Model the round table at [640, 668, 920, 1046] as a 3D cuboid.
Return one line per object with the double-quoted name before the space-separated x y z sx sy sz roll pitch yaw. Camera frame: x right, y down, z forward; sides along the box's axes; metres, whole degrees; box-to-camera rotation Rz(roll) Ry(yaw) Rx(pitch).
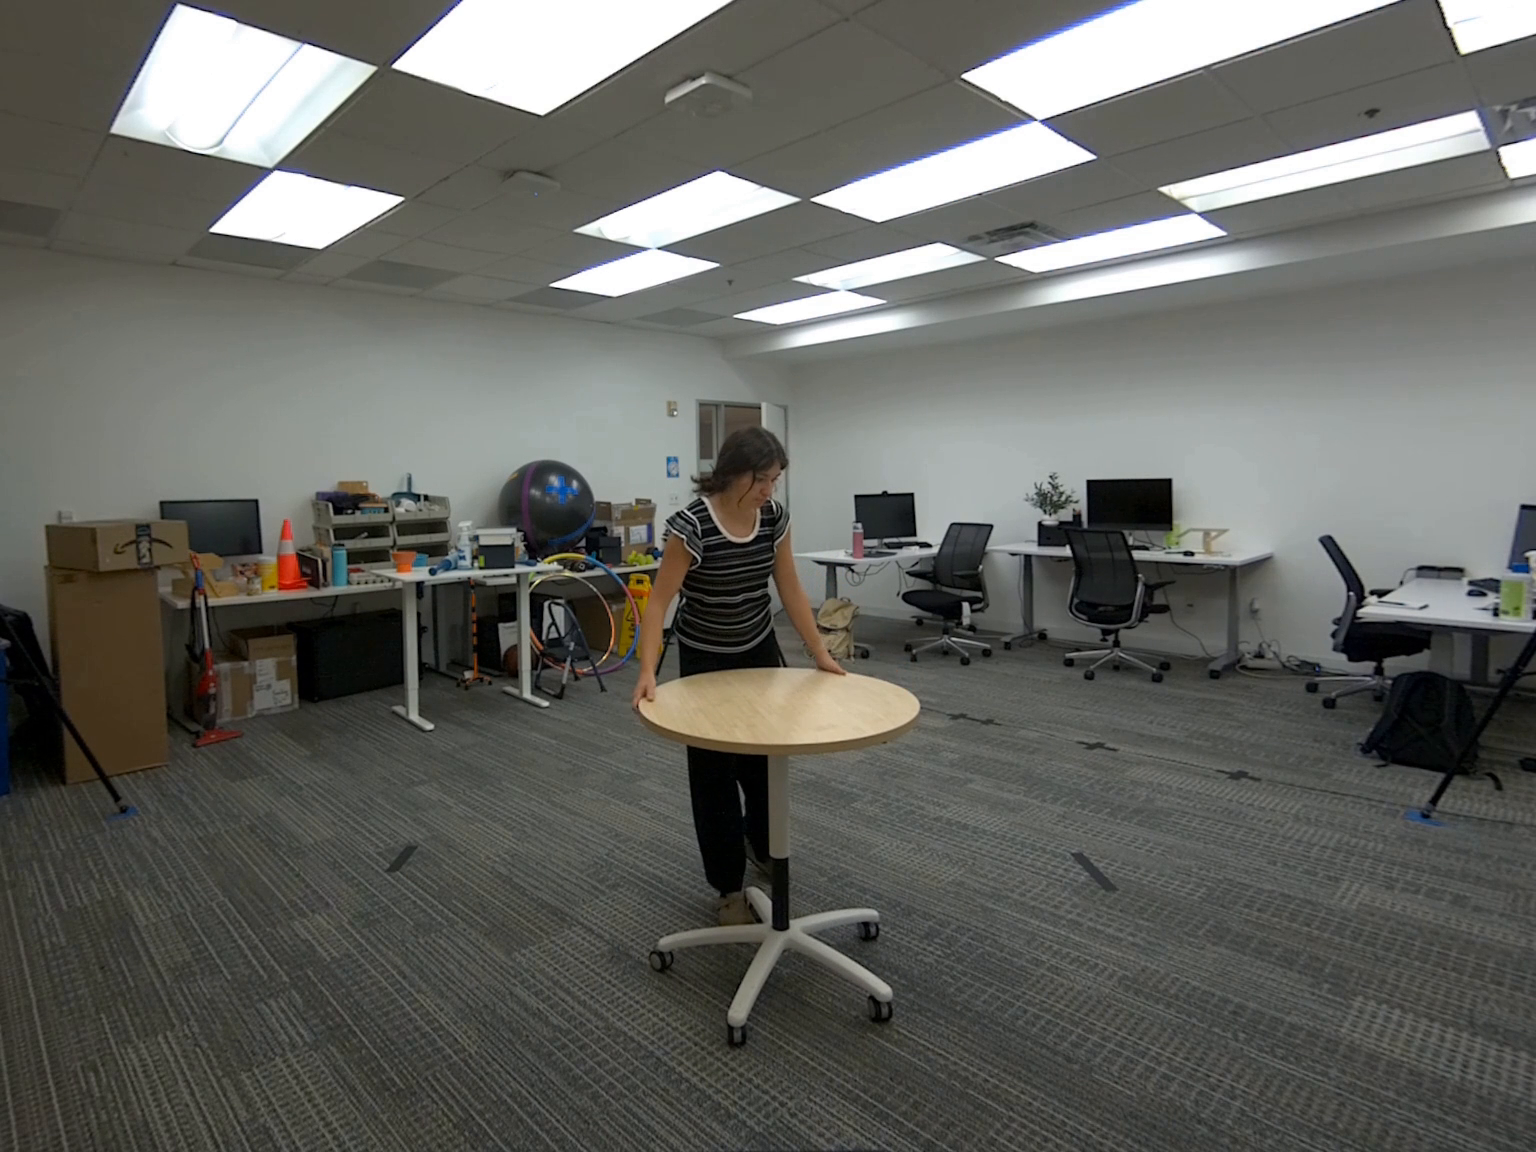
"round table" 0.031 0.739 2.379 0.763 0.790 0.768 -1 6 -2
